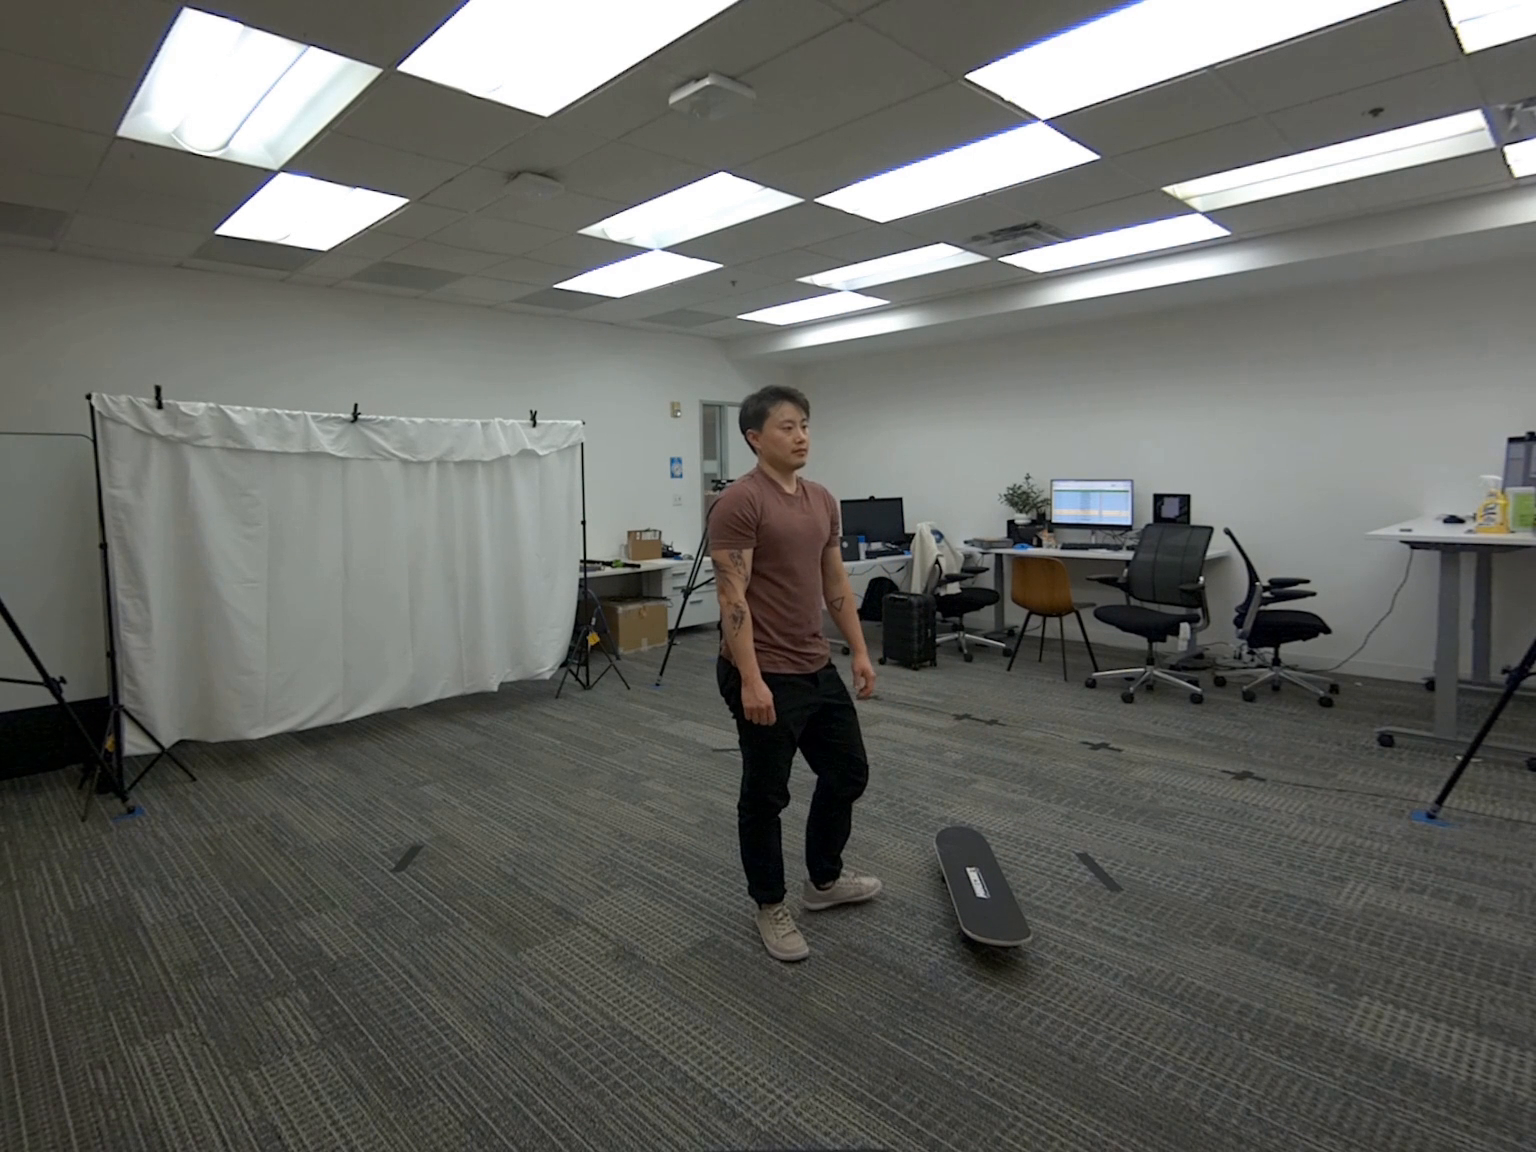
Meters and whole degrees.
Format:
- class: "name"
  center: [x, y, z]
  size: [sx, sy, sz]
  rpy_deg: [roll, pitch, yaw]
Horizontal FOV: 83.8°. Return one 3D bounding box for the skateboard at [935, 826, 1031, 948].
- class: "skateboard"
  center: [0.675, 1.018, 2.757]
  size: [0.194, 0.110, 0.787]
  rpy_deg: [-1, 7, 2]
